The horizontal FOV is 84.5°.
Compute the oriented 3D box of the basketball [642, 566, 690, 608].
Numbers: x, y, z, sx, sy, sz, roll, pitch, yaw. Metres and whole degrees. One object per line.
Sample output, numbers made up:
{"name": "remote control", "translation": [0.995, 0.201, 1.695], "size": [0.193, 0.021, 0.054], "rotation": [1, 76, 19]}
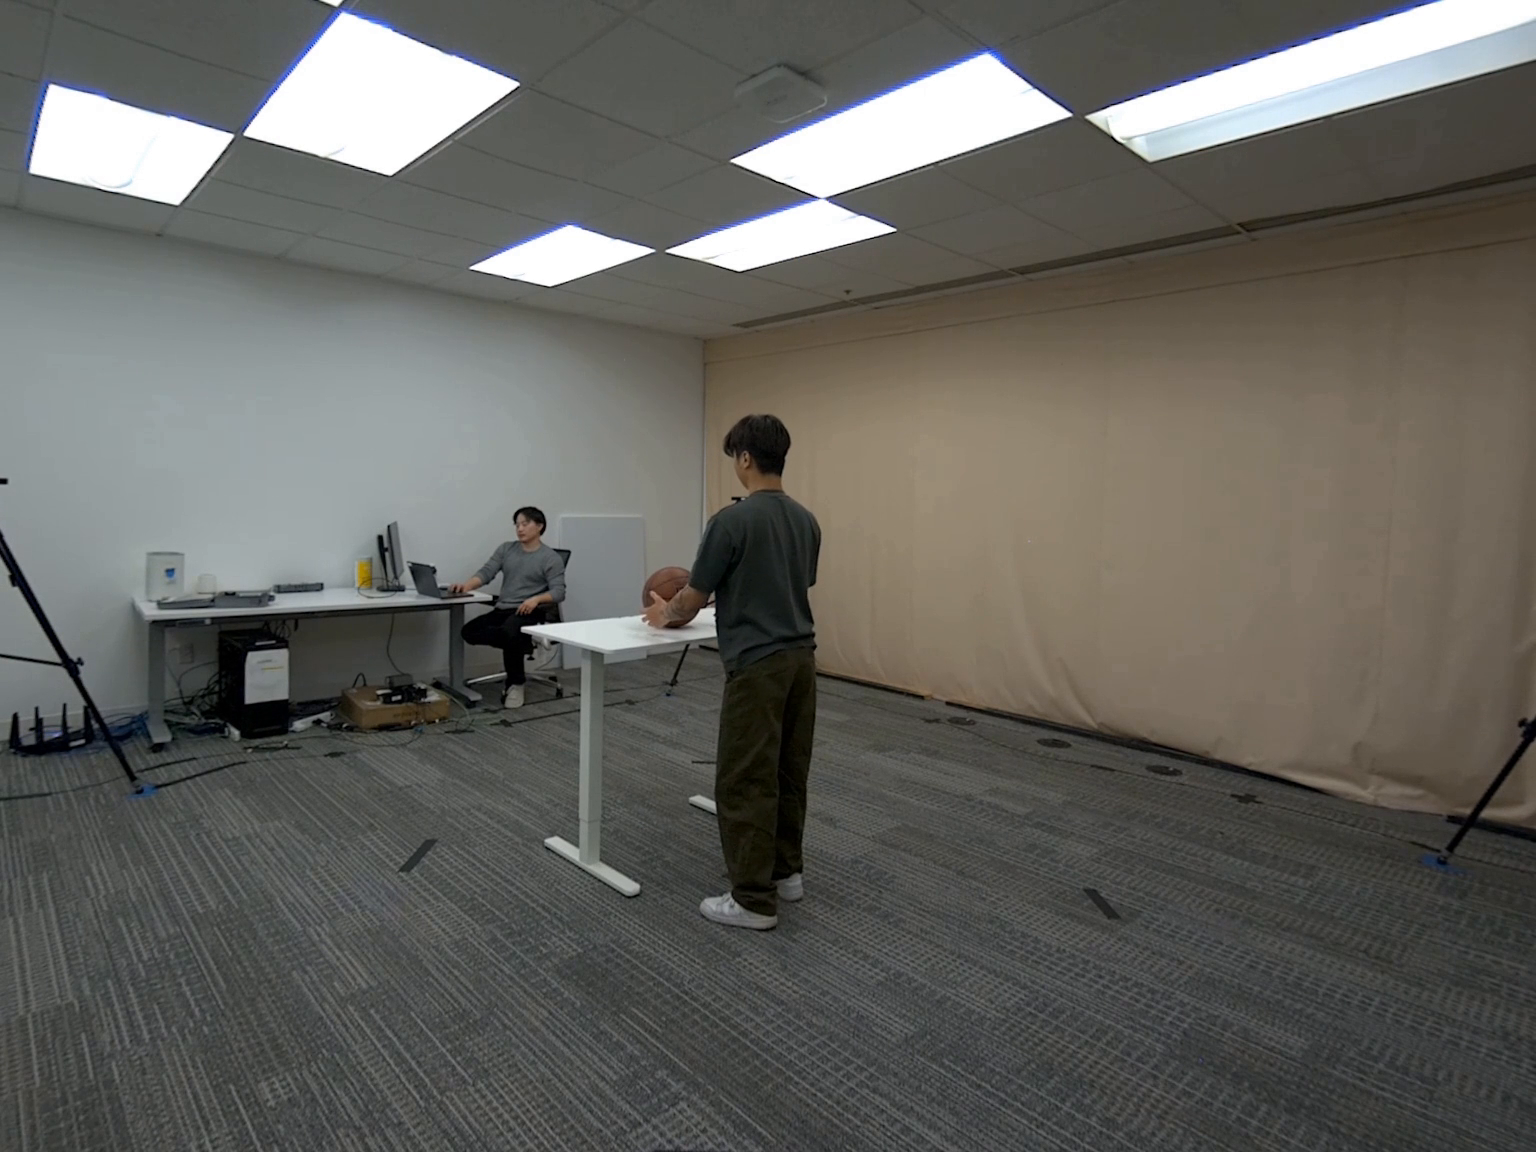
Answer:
{"name": "basketball", "translation": [-0.374, 0.084, 3.302], "size": [0.236, 0.235, 0.237], "rotation": [1, 4, -1]}
